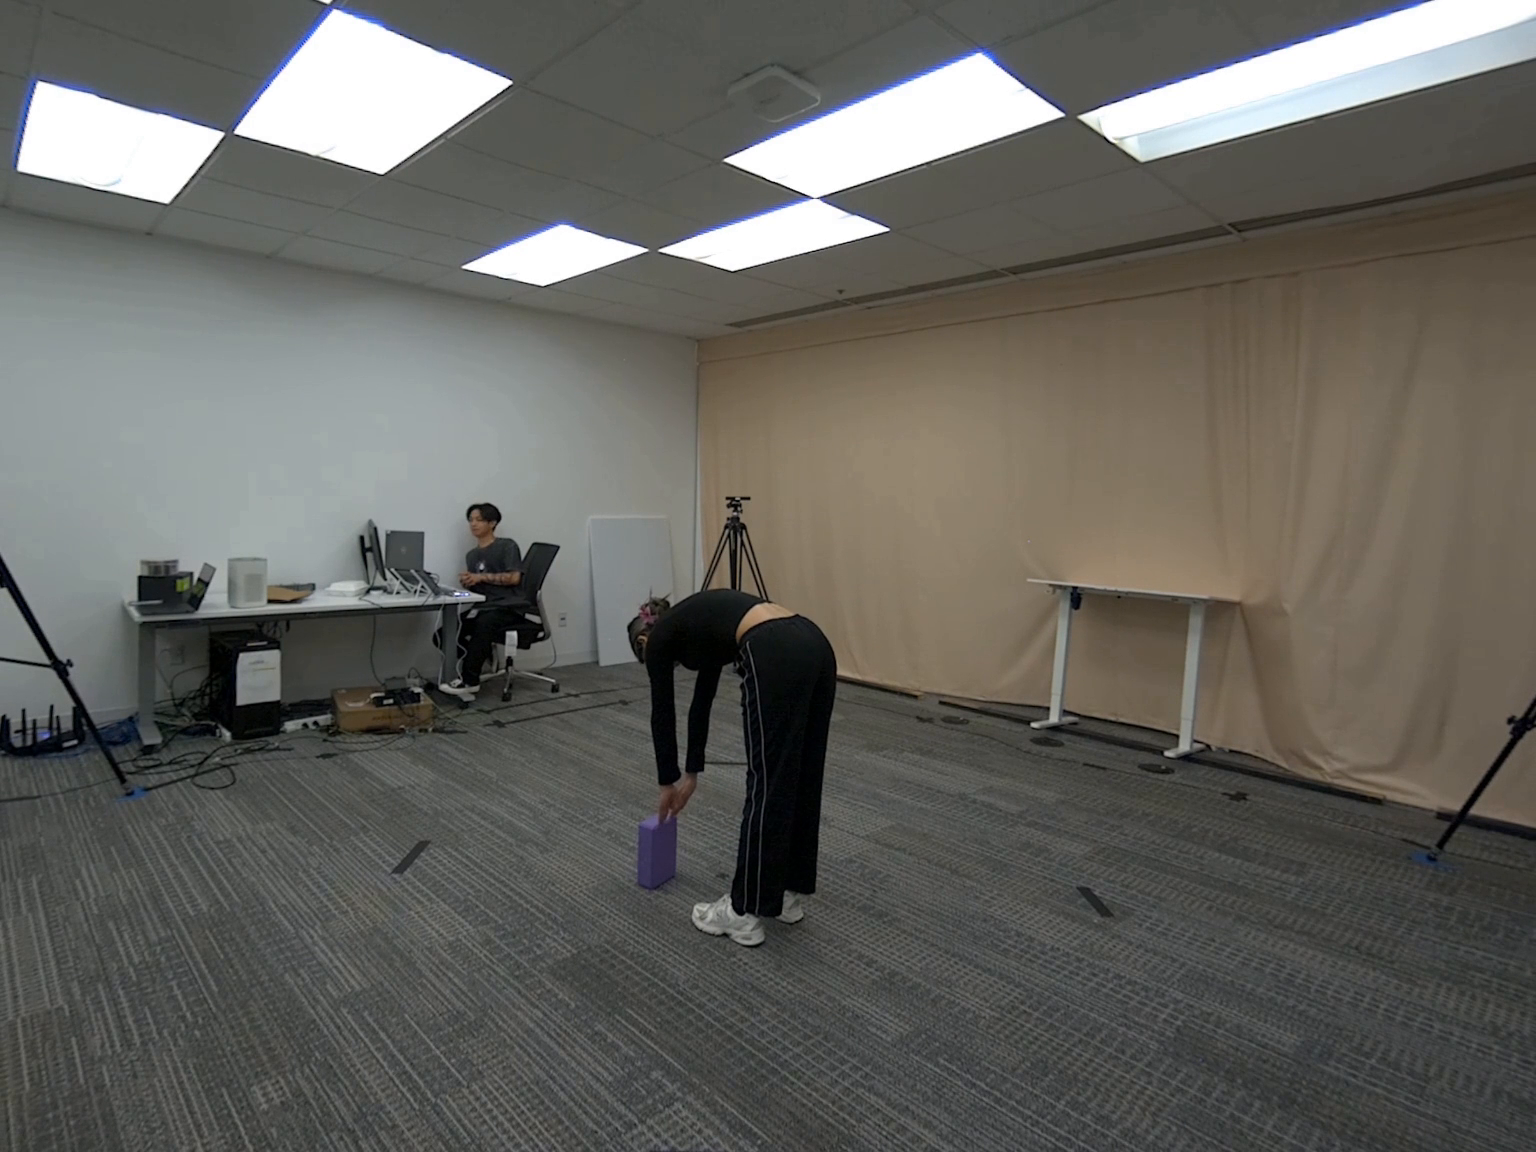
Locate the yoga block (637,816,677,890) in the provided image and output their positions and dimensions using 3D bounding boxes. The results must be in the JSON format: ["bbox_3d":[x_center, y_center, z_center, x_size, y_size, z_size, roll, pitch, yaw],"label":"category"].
[{"bbox_3d":[-0.407,0.993,3.042,0.078,0.228,0.146,5,6,29],"label":"yoga block"}]
